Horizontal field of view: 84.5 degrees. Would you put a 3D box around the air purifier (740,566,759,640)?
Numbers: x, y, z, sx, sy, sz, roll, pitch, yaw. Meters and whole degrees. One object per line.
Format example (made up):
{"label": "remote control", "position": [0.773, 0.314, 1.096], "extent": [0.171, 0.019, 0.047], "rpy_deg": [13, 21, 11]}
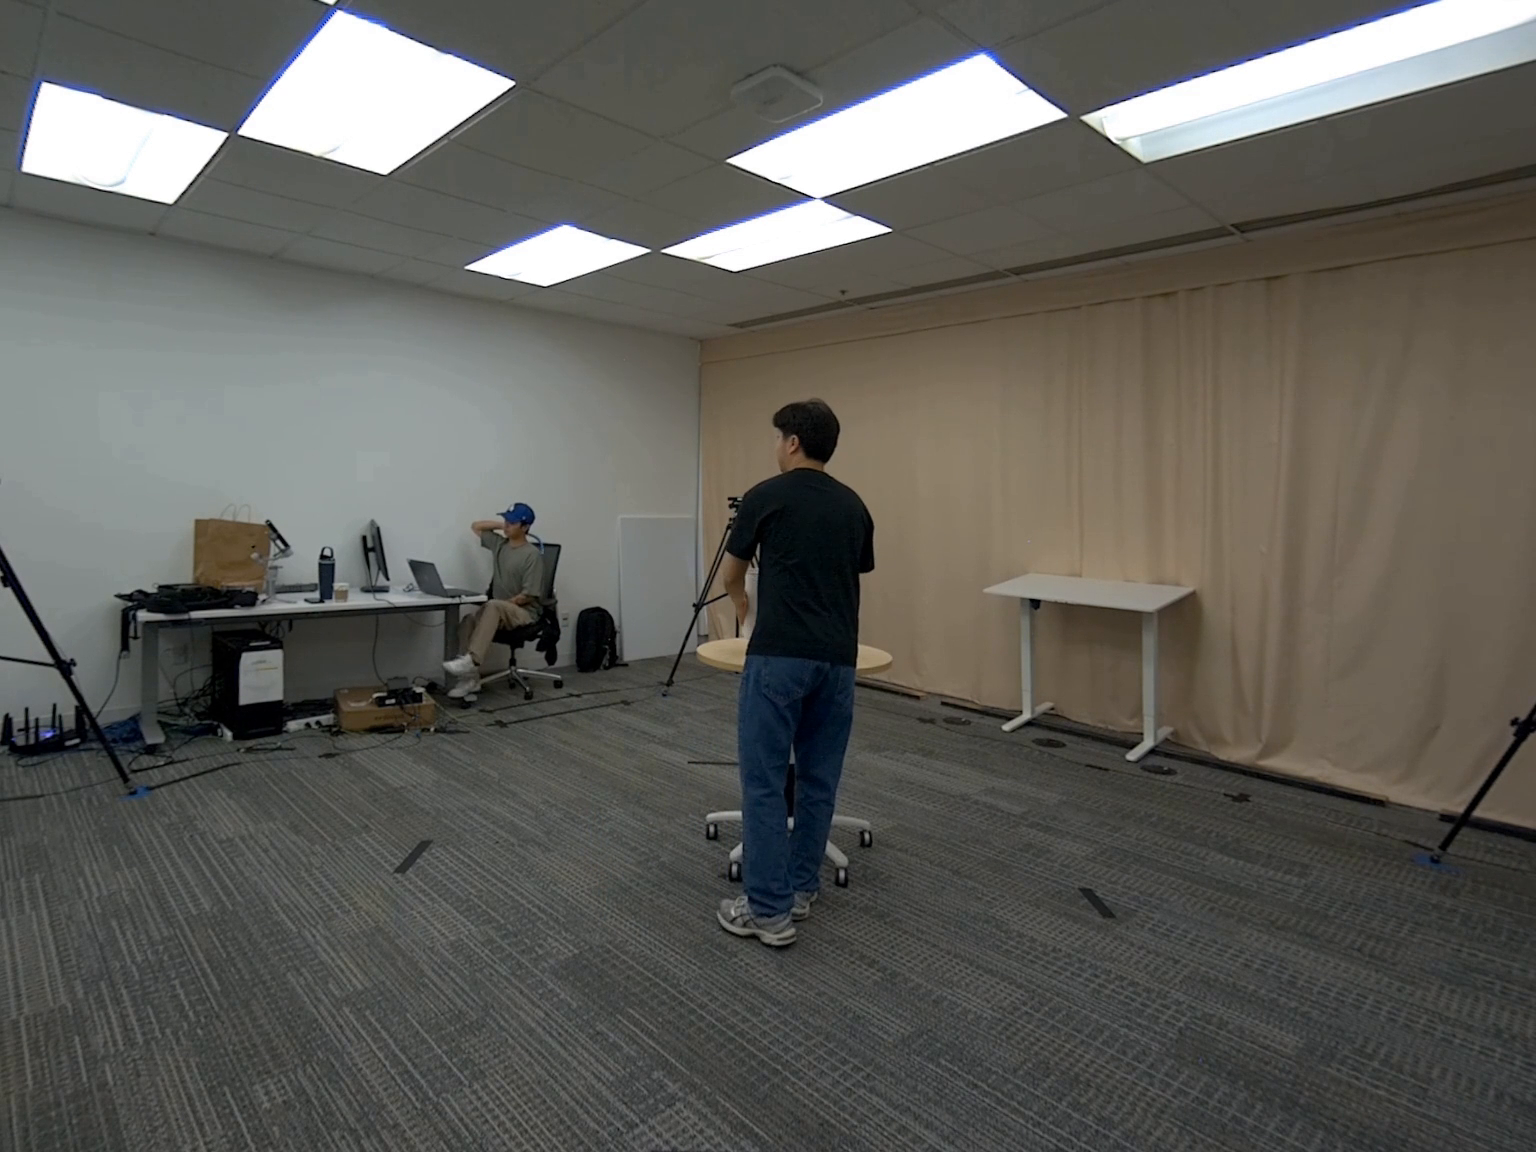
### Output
{"label": "air purifier", "position": [-0.023, 0.114, 3.268], "extent": [0.171, 0.264, 0.172], "rpy_deg": [0, 5, -1]}
